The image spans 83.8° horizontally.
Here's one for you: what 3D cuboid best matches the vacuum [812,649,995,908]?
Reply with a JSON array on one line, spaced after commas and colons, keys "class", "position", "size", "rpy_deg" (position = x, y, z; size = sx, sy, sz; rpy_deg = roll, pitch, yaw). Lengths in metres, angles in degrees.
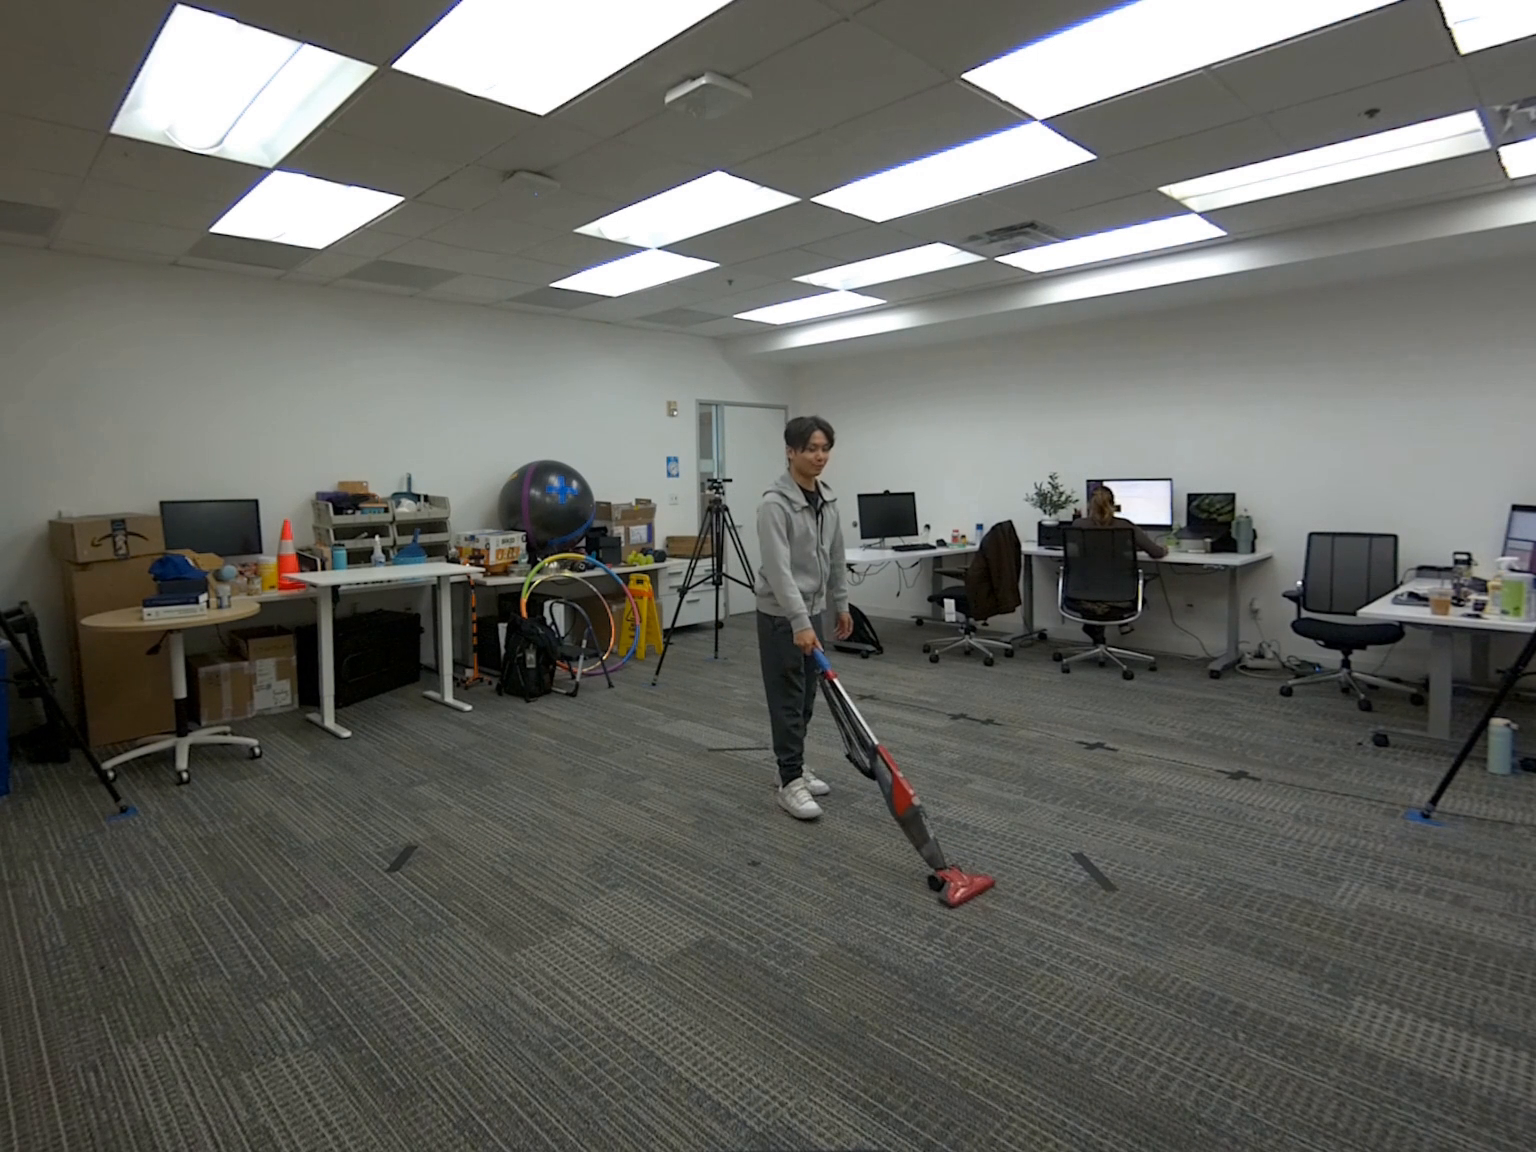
[{"class": "vacuum", "position": [0.398, 0.665, 3.146], "size": [0.245, 1.085, 0.143], "rpy_deg": [3, -45, -44]}]
